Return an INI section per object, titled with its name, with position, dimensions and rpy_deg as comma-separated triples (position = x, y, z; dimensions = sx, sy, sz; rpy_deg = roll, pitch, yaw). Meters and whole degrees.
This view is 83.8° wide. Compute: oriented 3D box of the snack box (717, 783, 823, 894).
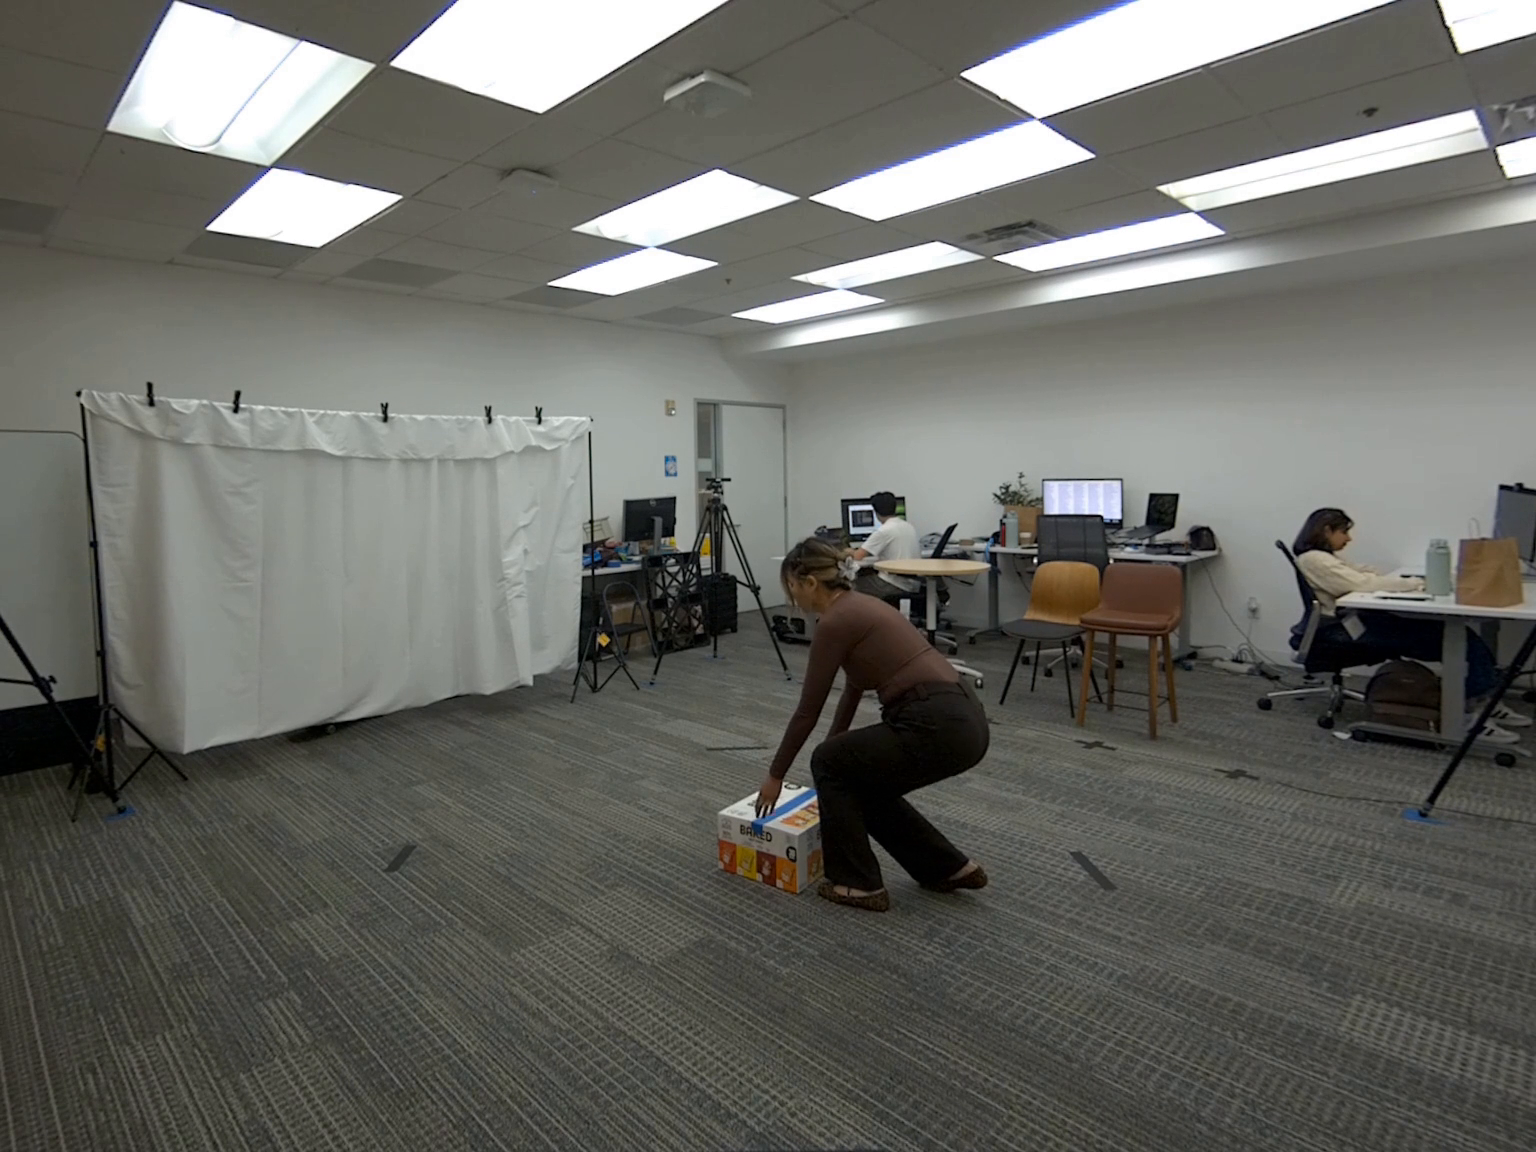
[snack box]
position = 0.077, 0.936, 3.116
dimensions = 0.350, 0.205, 0.395
rpy_deg = 3, 7, 36
